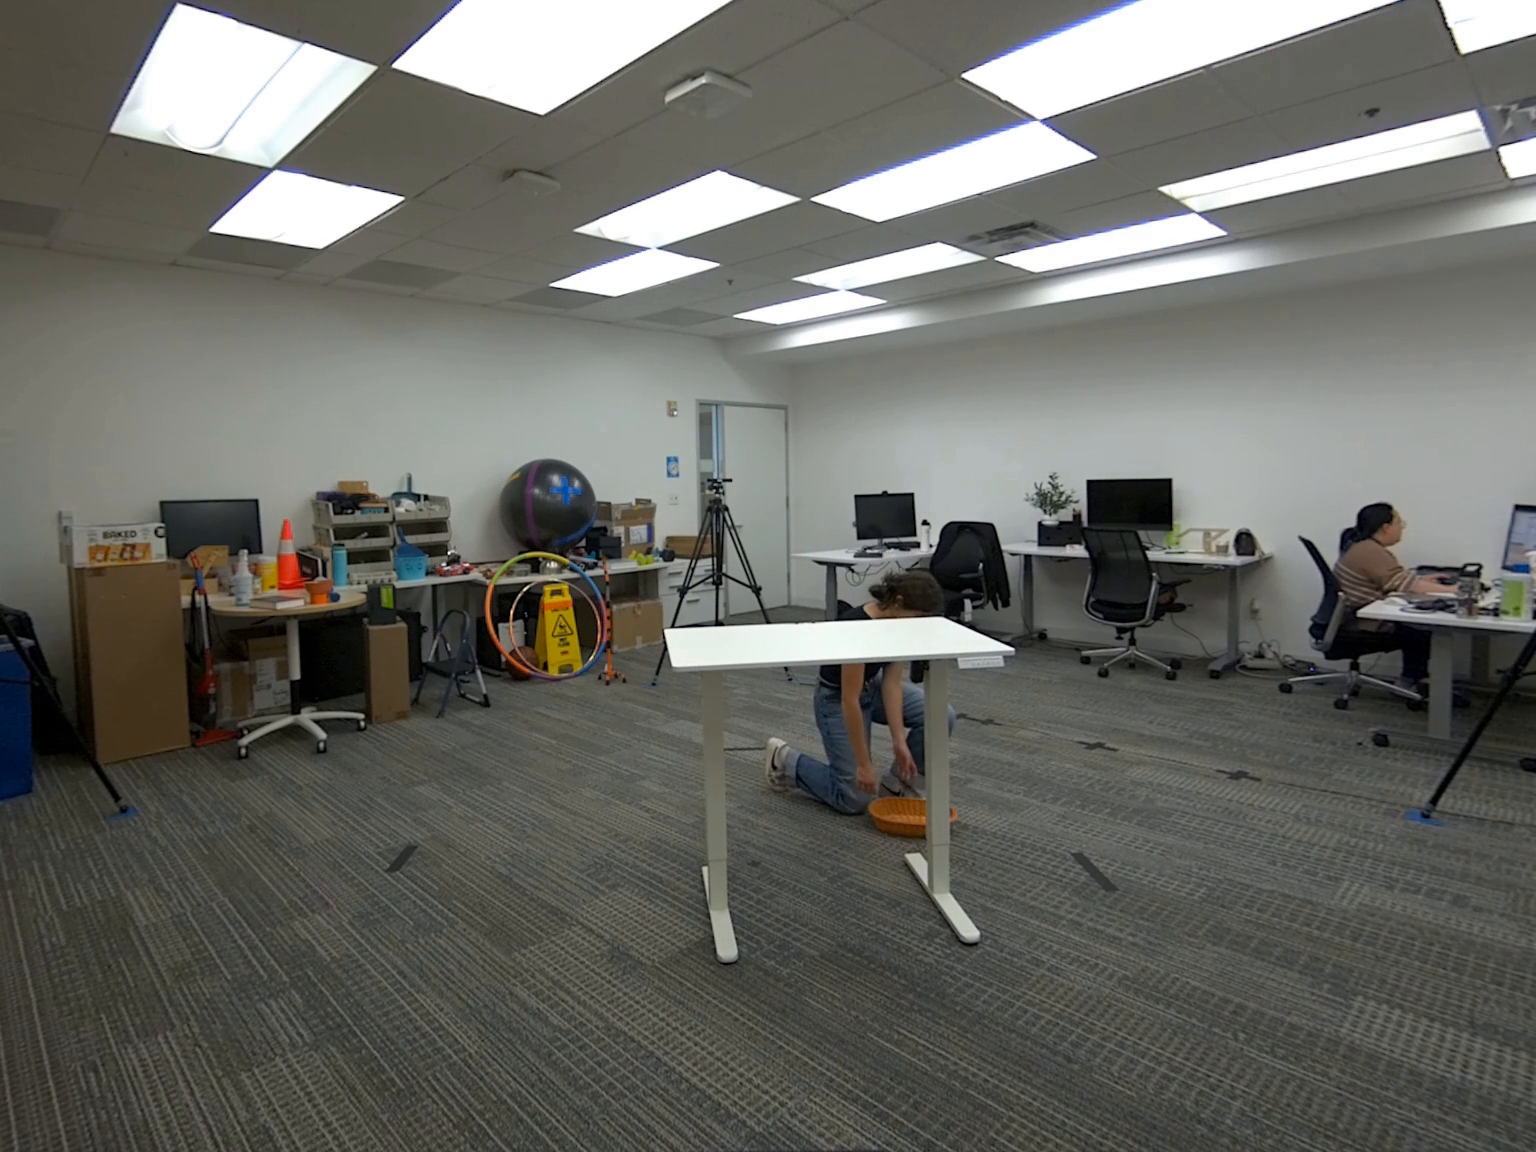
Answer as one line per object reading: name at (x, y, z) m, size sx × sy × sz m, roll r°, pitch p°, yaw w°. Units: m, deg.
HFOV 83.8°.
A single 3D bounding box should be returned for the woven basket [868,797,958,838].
woven basket at (0.562, 0.958, 3.401) m, size 0.356 × 0.073 × 0.249 m, roll 1°, pitch 7°, yaw 16°
